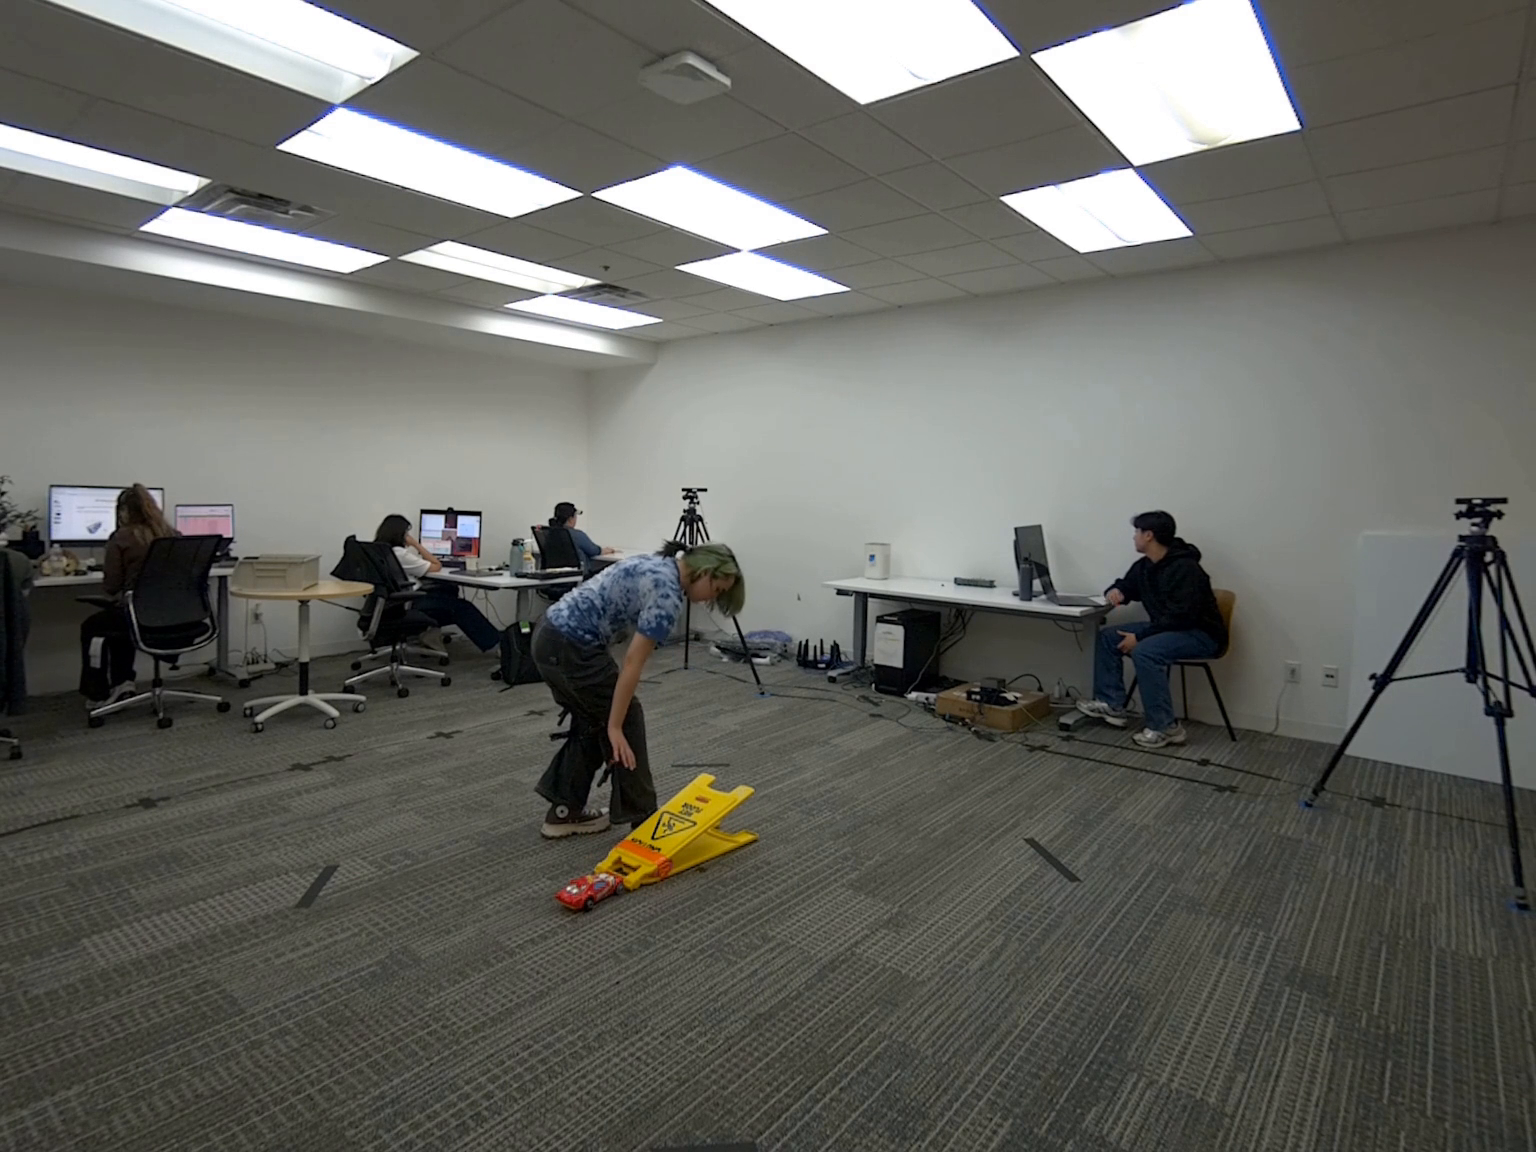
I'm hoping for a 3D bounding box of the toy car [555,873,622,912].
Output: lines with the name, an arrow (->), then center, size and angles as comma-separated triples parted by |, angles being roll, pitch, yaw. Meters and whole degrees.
toy car -> -0.613, 1.054, 2.854 | 0.134, 0.083, 0.245 | 4, -4, 37
